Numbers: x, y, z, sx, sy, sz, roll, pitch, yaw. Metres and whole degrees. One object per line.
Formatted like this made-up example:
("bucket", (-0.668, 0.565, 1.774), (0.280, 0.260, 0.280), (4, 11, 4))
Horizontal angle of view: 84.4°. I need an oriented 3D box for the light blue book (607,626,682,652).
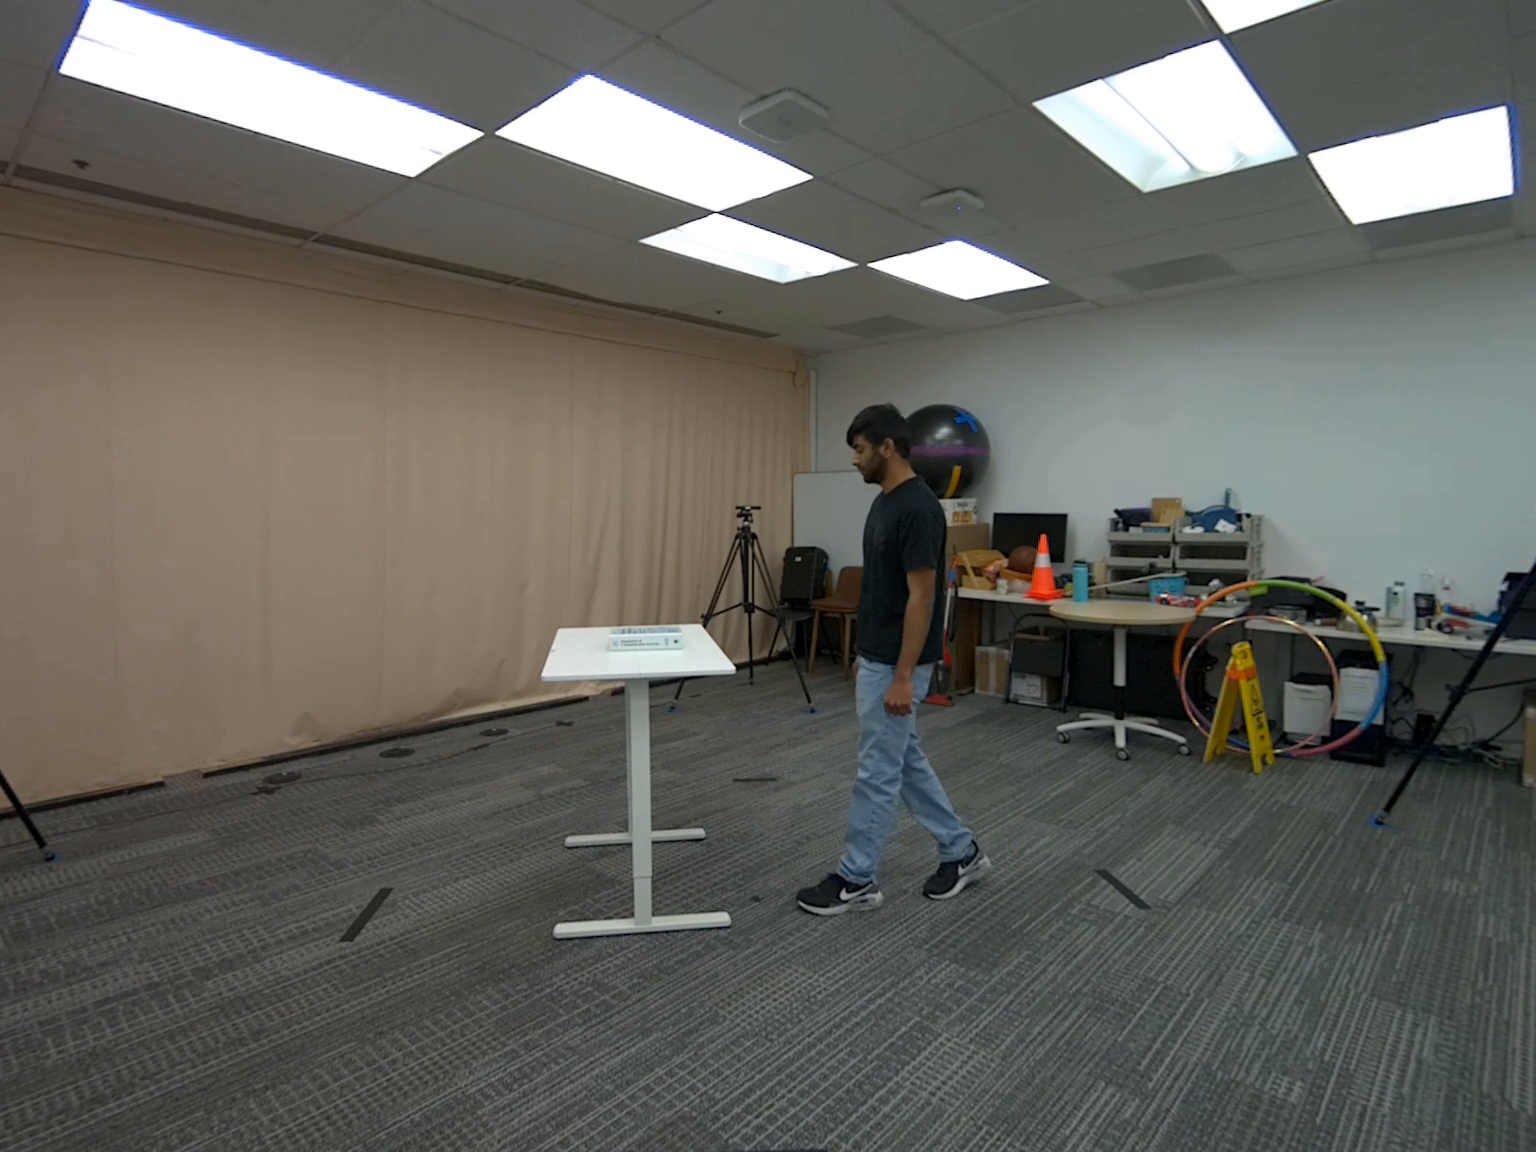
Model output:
("light blue book", (-0.443, 0.233, 3.099), (0.260, 0.059, 0.193), (-2, 4, -5))
